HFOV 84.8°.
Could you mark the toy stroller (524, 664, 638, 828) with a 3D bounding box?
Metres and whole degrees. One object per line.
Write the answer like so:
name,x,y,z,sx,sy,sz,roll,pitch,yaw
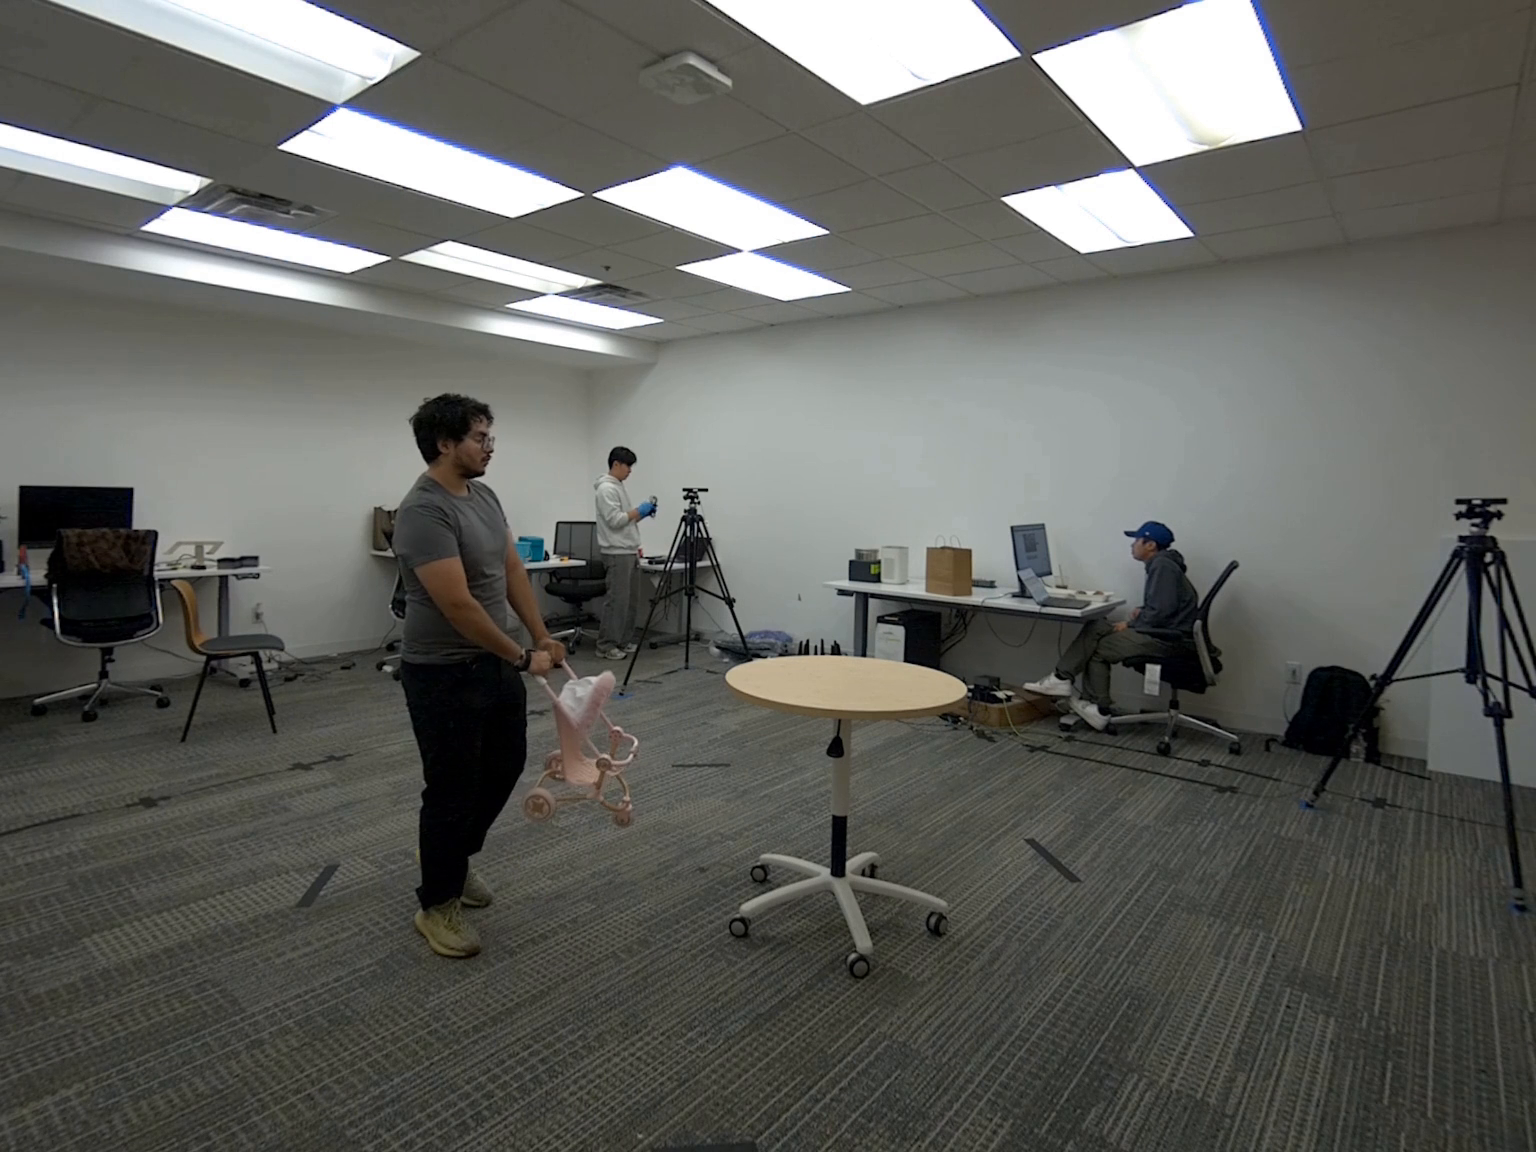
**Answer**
toy stroller,-0.574,0.527,2.628,0.344,0.529,0.282,7,12,6
